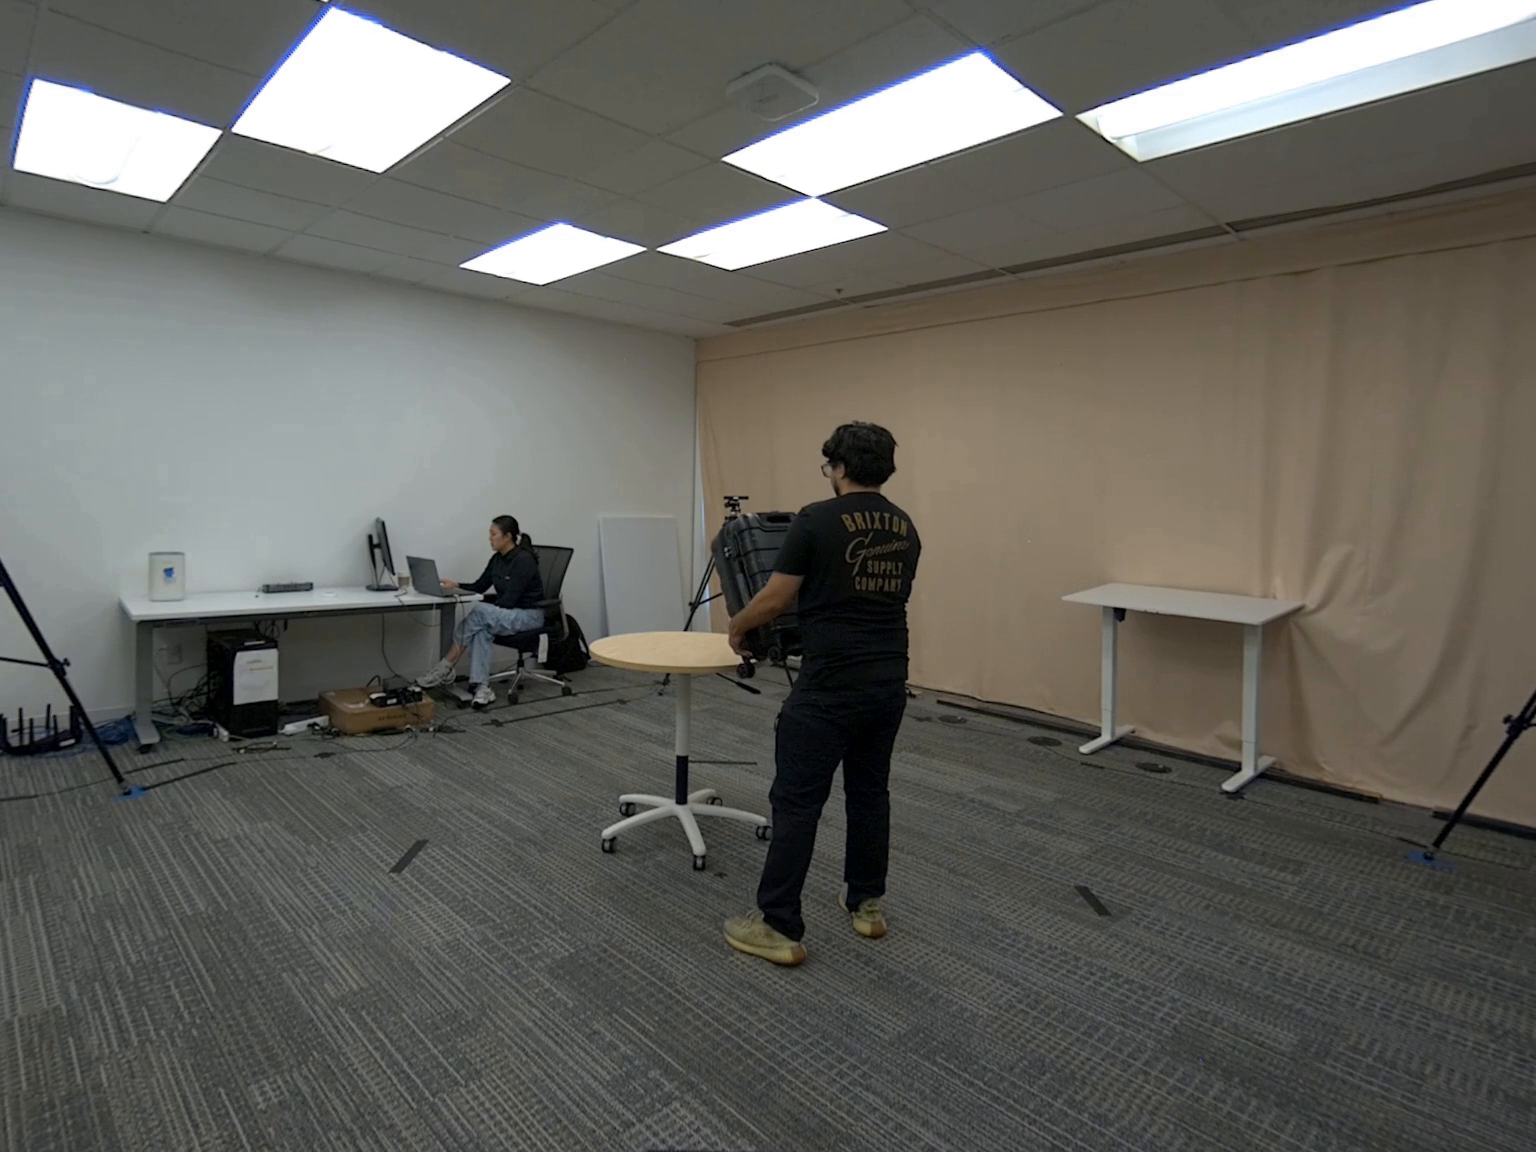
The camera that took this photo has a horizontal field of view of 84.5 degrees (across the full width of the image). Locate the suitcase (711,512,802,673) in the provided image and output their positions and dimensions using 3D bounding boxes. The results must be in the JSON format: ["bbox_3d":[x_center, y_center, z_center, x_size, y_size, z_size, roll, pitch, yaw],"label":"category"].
[{"bbox_3d":[0.032,0.047,3.001,0.367,0.559,0.249,-1,-24,-33],"label":"suitcase"}]
